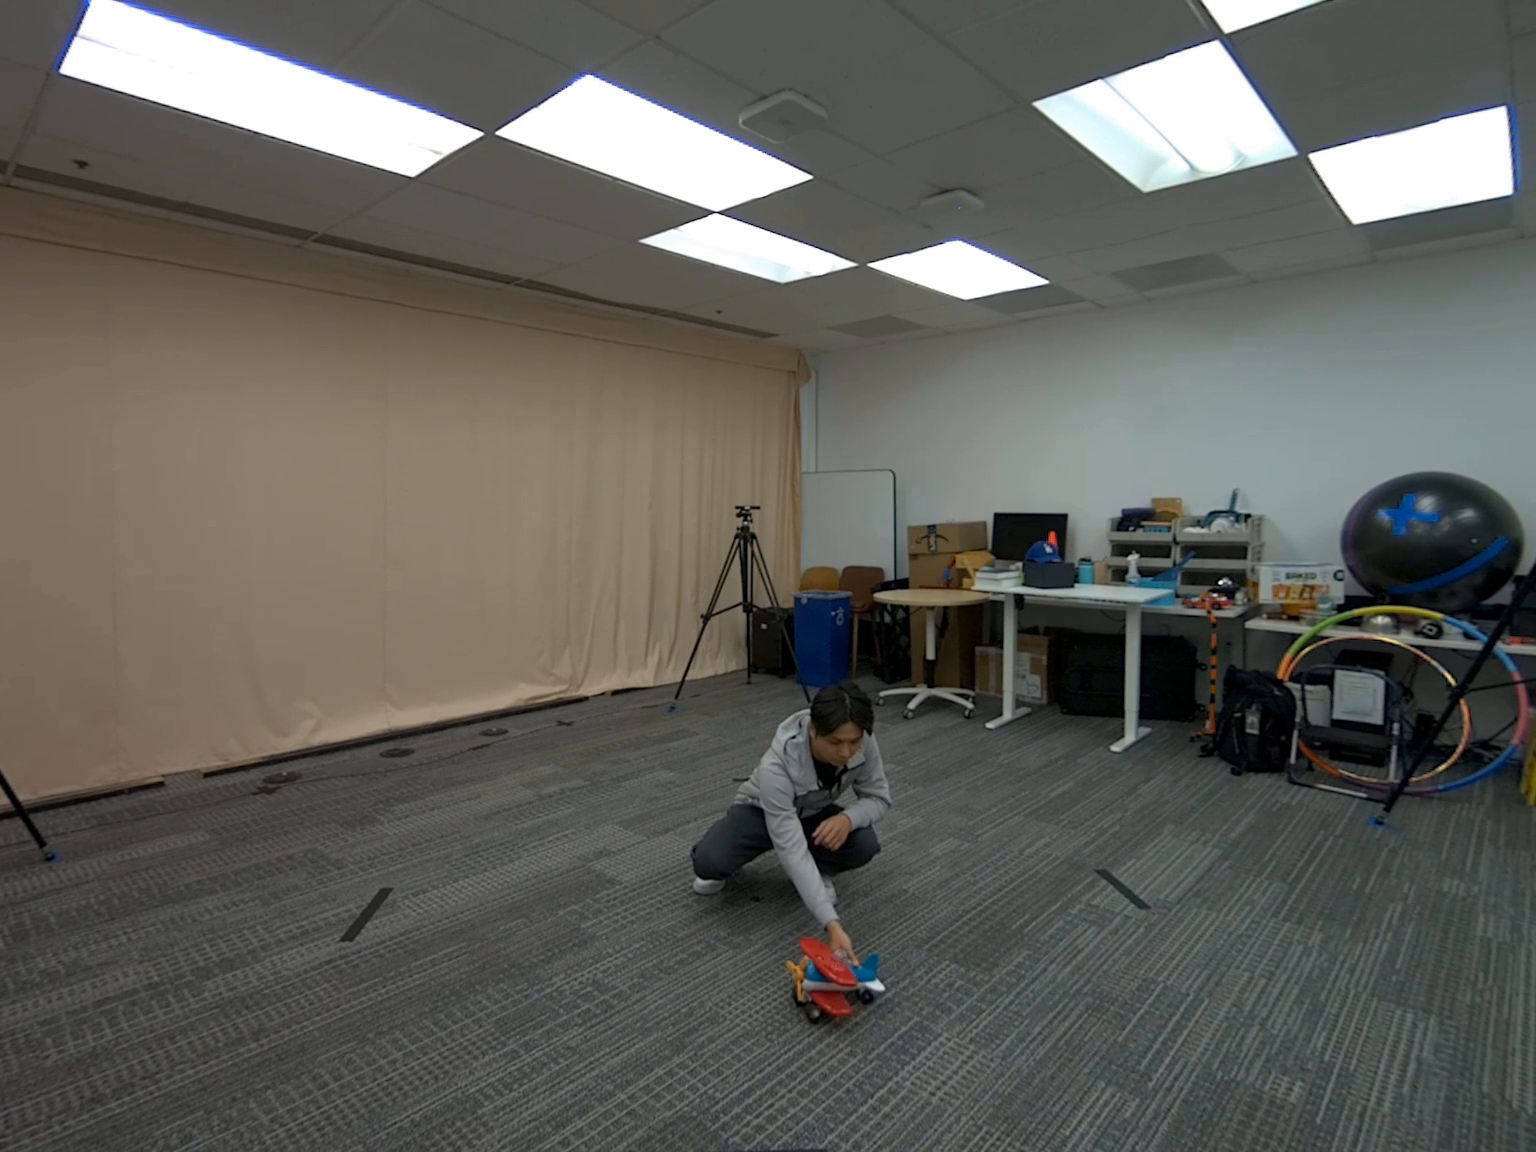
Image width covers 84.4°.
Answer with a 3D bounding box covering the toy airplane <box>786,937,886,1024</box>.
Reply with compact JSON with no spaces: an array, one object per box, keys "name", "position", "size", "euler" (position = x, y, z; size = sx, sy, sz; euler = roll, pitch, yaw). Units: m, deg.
[{"name":"toy airplane","position":[0.179,1.118,2.359],"size":[0.259,0.156,0.251],"euler":[5,6,41]}]
